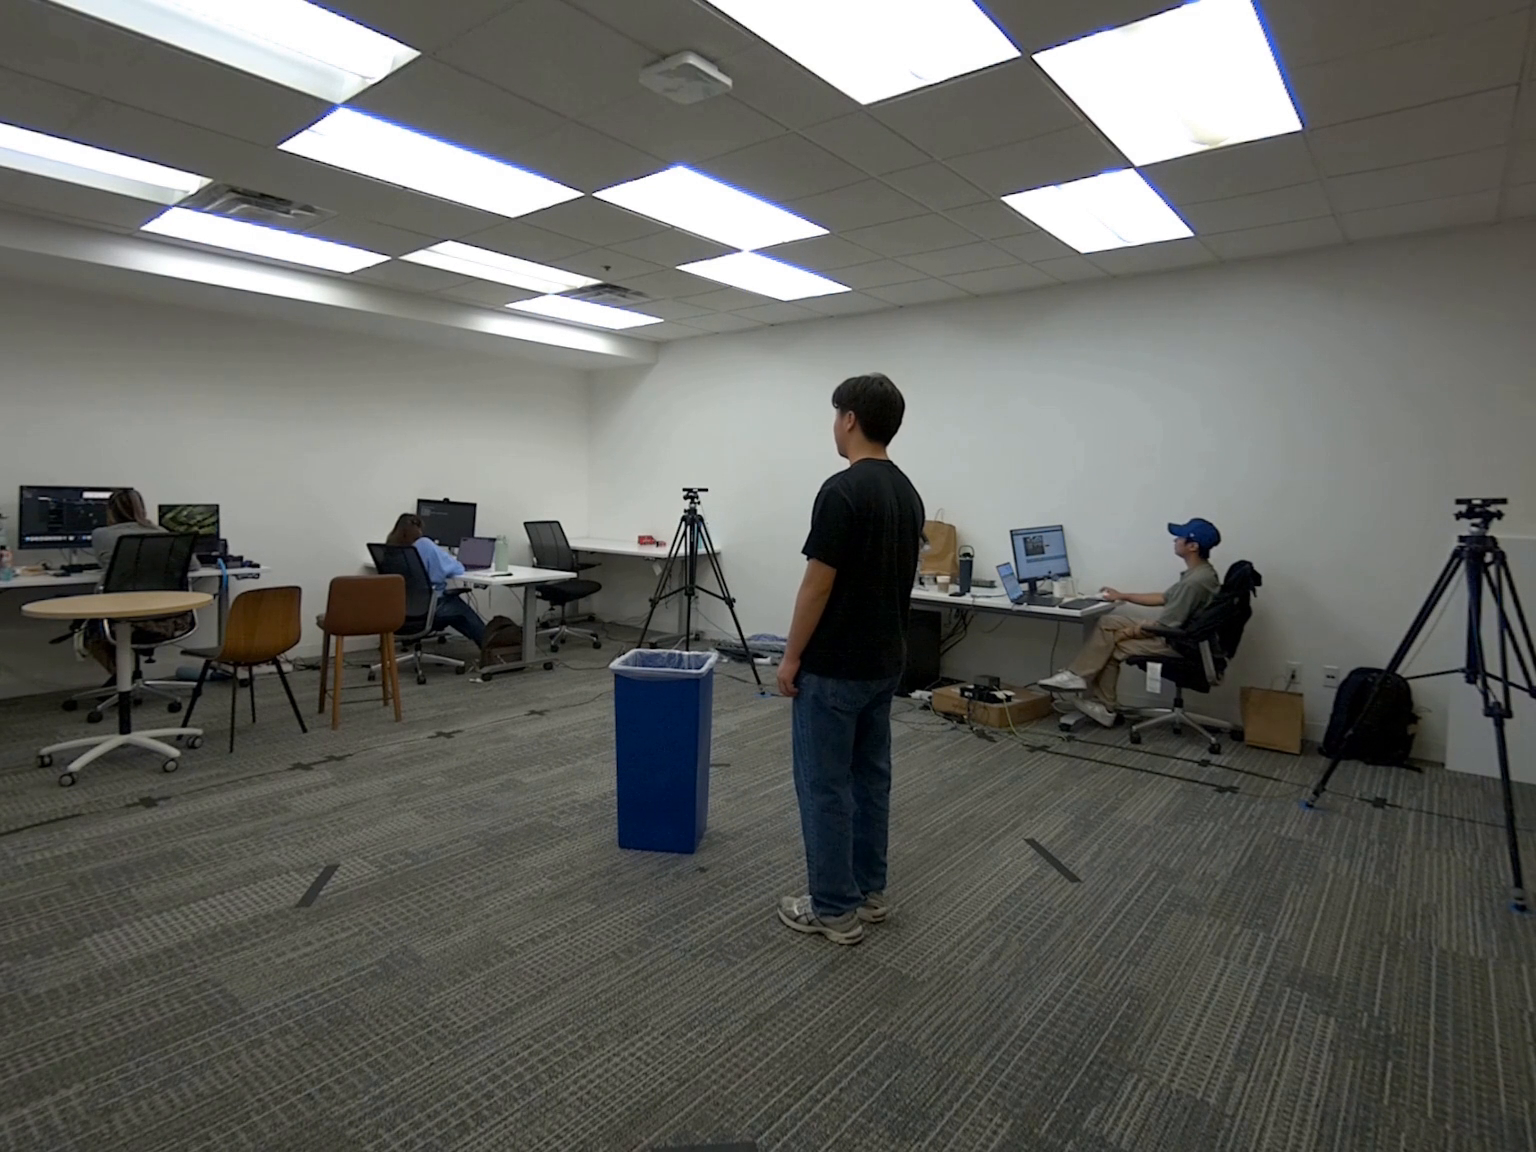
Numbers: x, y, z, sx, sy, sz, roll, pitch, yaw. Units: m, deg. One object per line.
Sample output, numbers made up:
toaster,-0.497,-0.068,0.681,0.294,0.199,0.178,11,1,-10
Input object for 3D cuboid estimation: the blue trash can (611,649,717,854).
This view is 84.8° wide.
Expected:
blue trash can,-0.425,0.678,3.391,0.382,0.710,0.372,1,5,7
